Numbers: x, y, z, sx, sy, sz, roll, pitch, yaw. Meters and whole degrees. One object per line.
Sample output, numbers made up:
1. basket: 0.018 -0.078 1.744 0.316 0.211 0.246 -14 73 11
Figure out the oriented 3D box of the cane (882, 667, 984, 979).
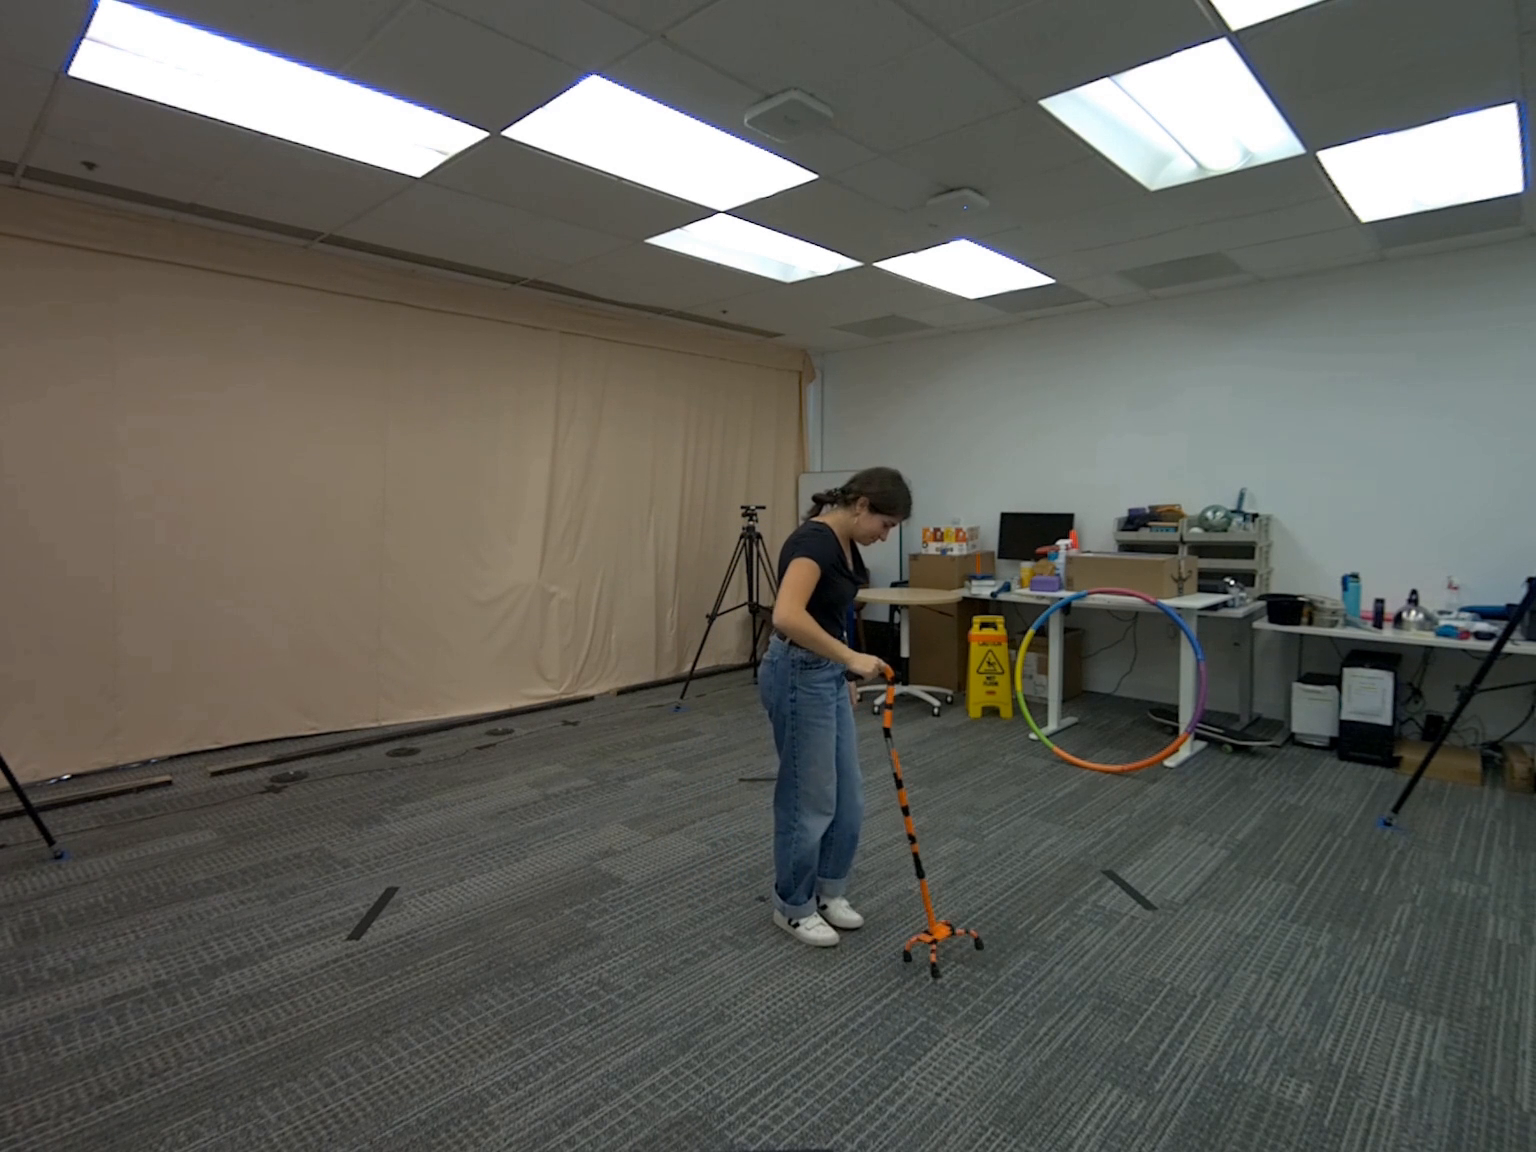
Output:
1. cane: 0.430 0.701 2.491 0.202 0.904 0.155 -15 5 -30
